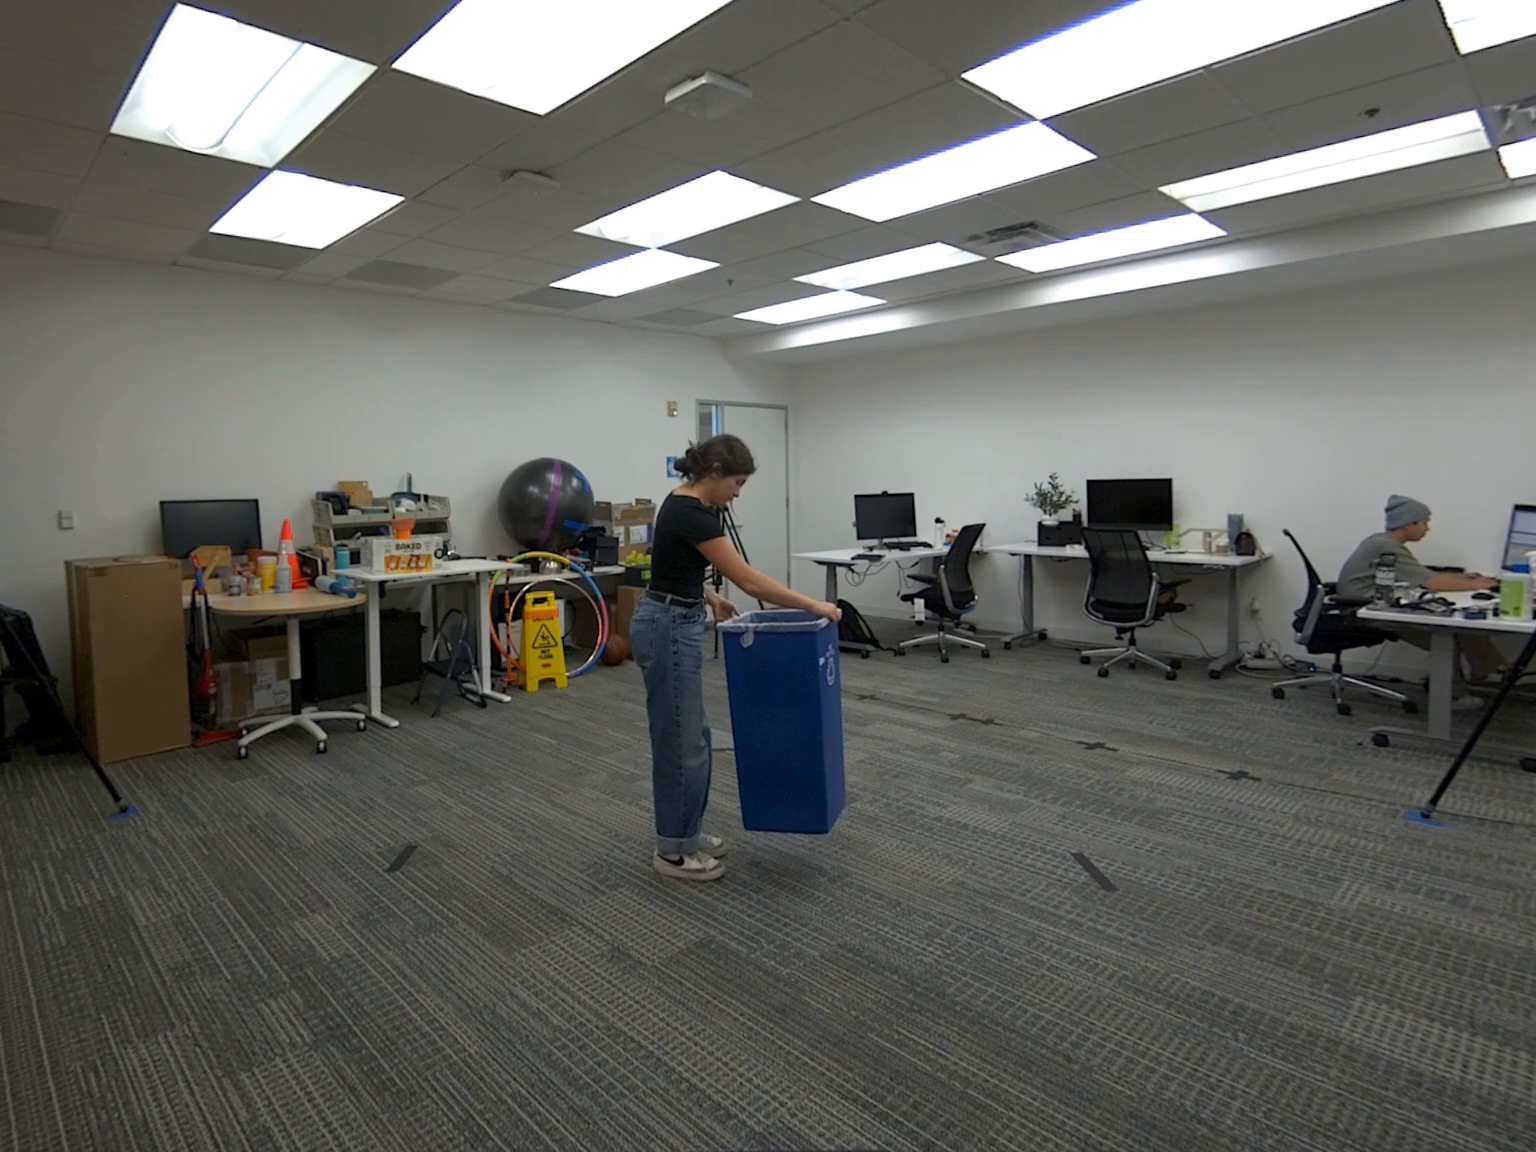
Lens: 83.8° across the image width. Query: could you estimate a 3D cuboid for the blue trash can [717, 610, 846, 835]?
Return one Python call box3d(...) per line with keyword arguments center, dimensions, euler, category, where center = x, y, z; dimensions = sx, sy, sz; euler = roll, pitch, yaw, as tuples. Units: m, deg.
box3d(center=(0.071, 0.499, 3.021), dimensions=(0.385, 0.712, 0.368), euler=(-3, 3, 19), category="blue trash can")
